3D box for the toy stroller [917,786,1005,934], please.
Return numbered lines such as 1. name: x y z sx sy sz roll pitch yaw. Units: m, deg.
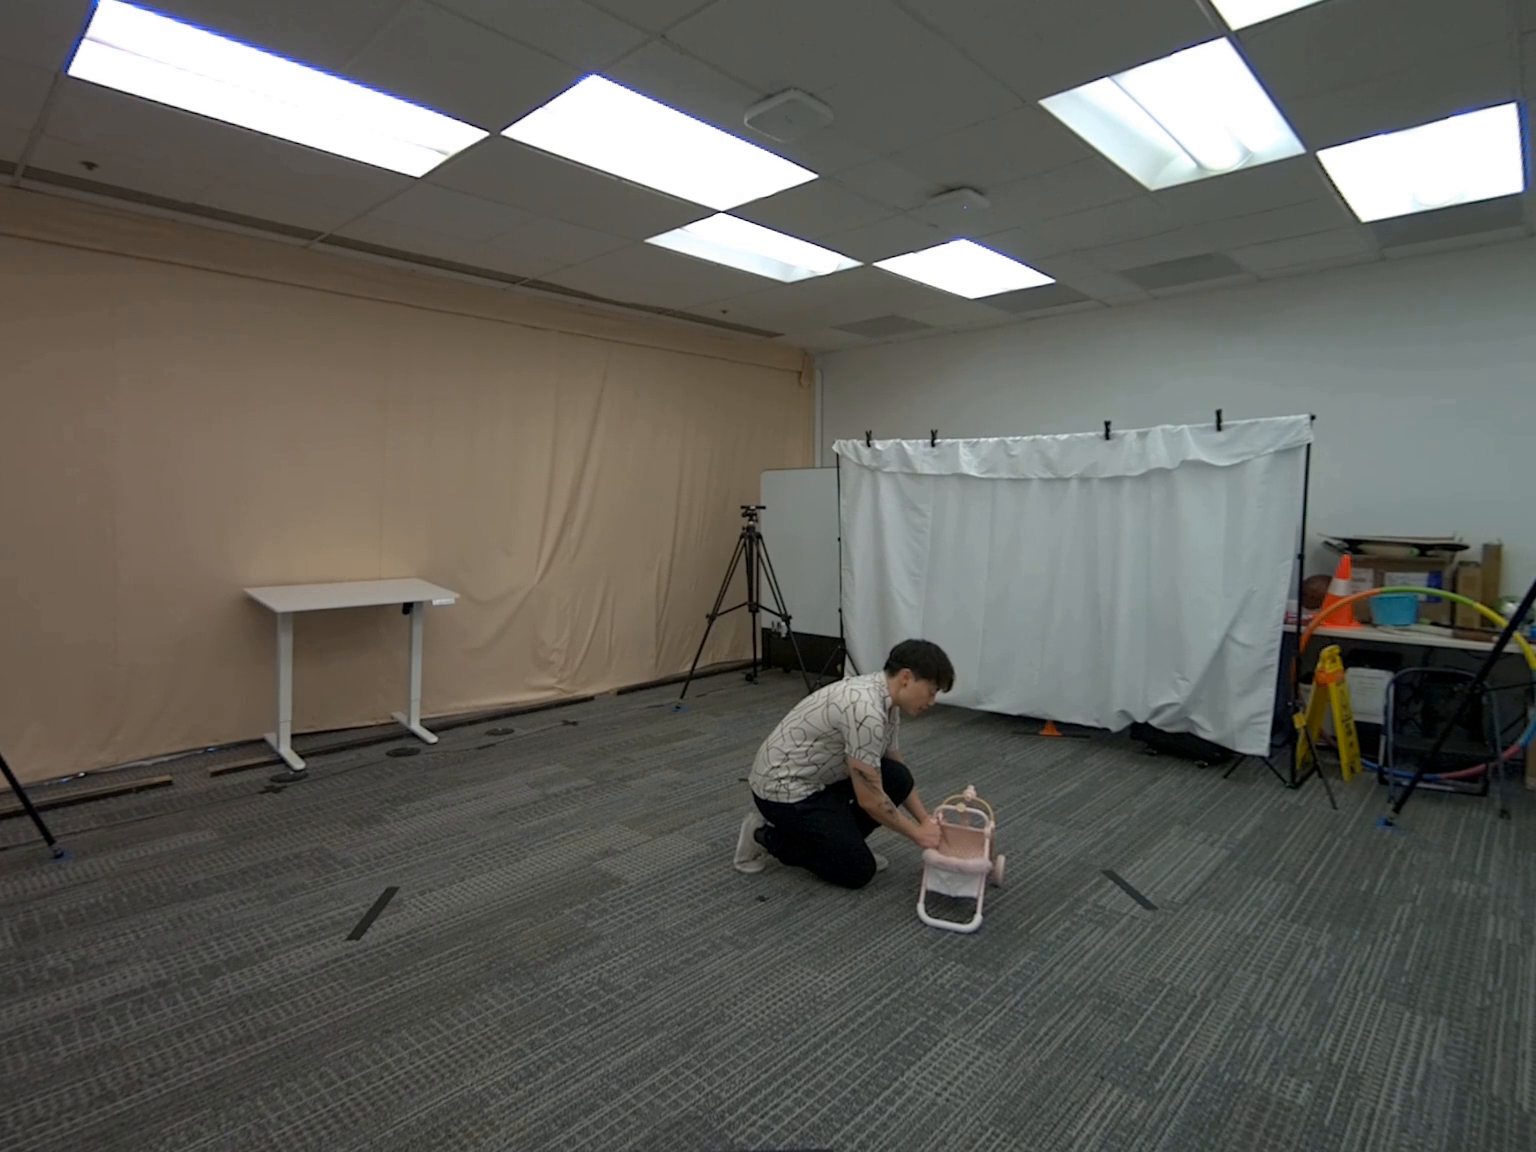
1. toy stroller: 0.695 0.979 2.983 0.289 0.340 0.523 7 6 23
